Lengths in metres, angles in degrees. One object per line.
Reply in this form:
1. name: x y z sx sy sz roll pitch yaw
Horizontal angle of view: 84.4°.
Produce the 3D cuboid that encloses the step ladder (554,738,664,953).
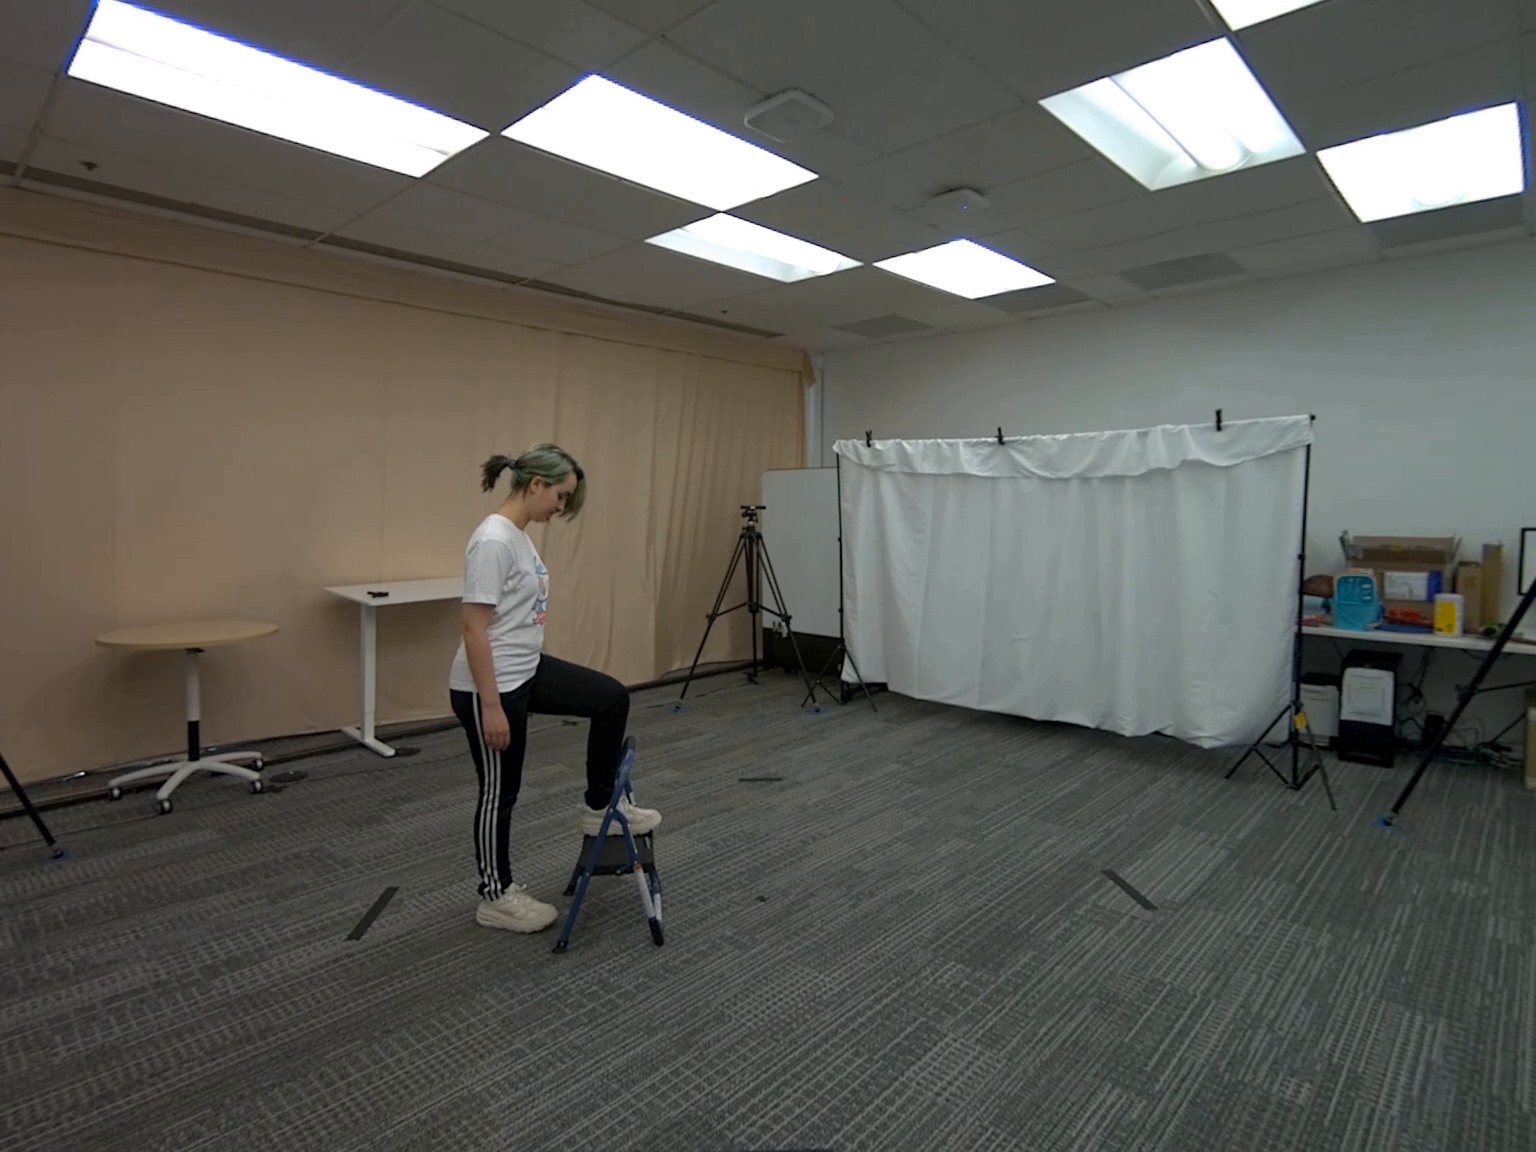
1. step ladder: -0.533 0.863 2.835 0.346 0.605 0.435 -1 3 -8
